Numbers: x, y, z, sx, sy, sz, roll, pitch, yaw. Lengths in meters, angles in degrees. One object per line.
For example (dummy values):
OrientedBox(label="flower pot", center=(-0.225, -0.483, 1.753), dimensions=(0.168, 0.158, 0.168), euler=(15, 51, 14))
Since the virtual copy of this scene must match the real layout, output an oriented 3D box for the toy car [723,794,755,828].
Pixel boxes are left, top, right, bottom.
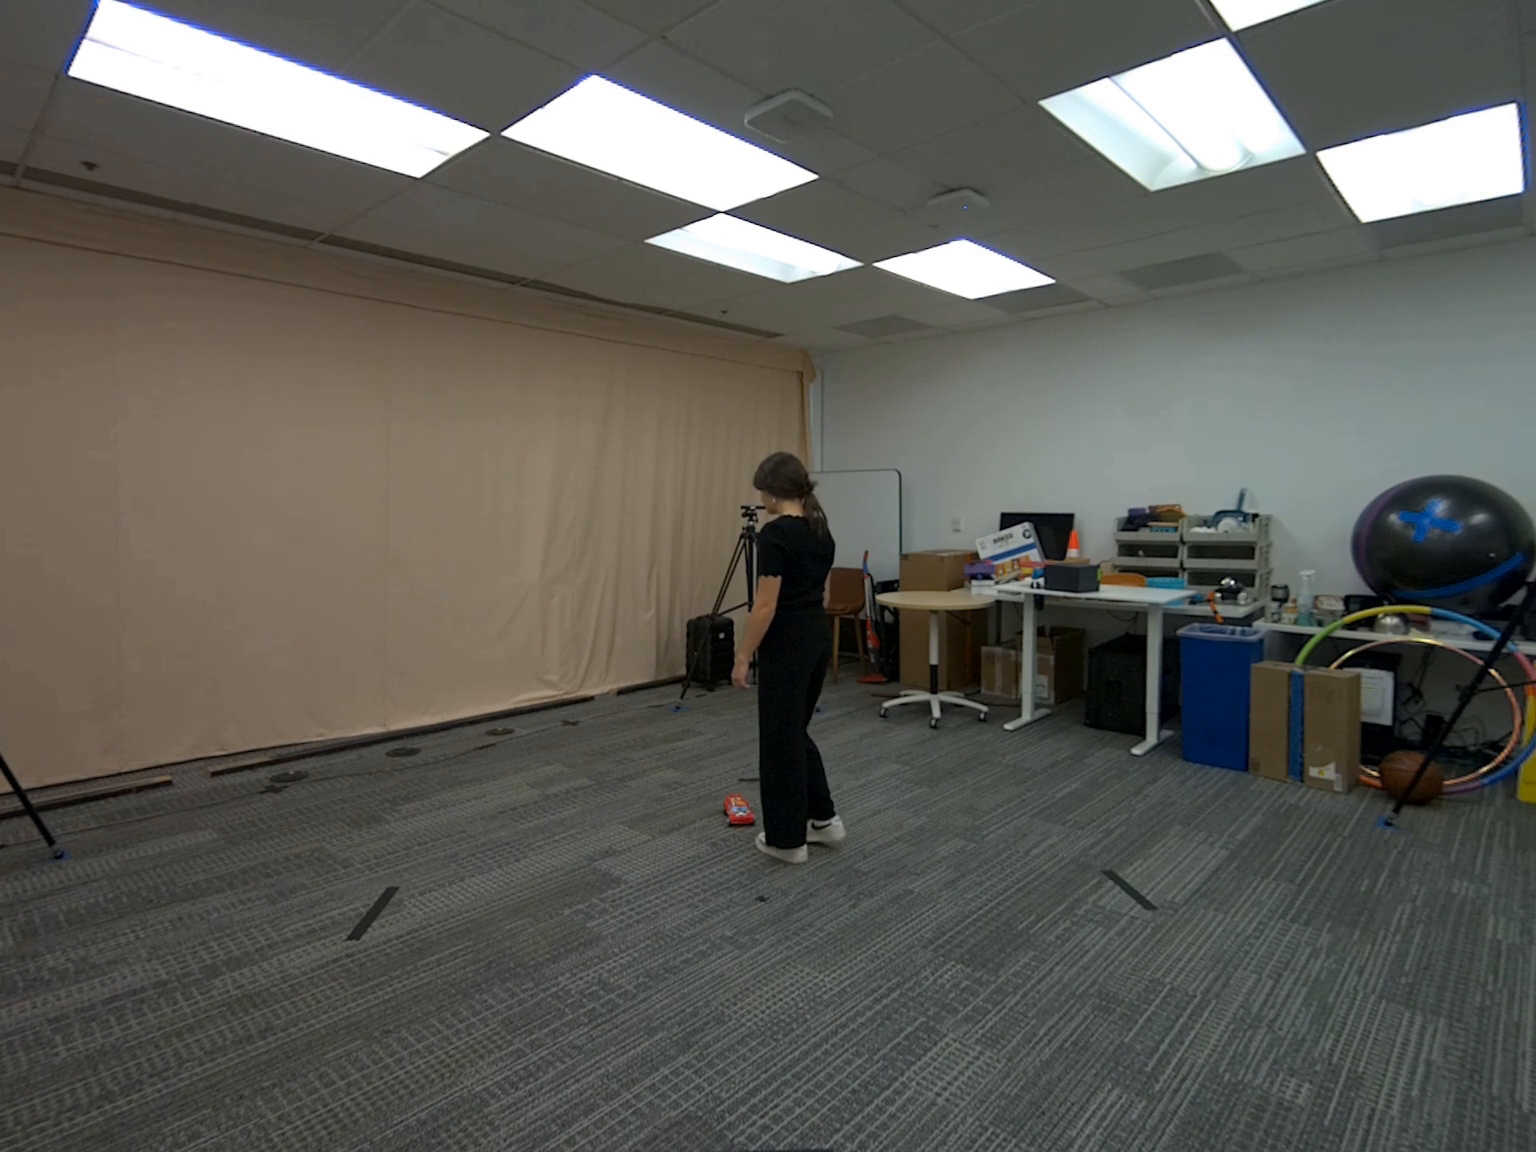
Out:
OrientedBox(label="toy car", center=(-0.134, 1.049, 3.769), dimensions=(0.129, 0.082, 0.259), euler=(-1, 15, -9))
